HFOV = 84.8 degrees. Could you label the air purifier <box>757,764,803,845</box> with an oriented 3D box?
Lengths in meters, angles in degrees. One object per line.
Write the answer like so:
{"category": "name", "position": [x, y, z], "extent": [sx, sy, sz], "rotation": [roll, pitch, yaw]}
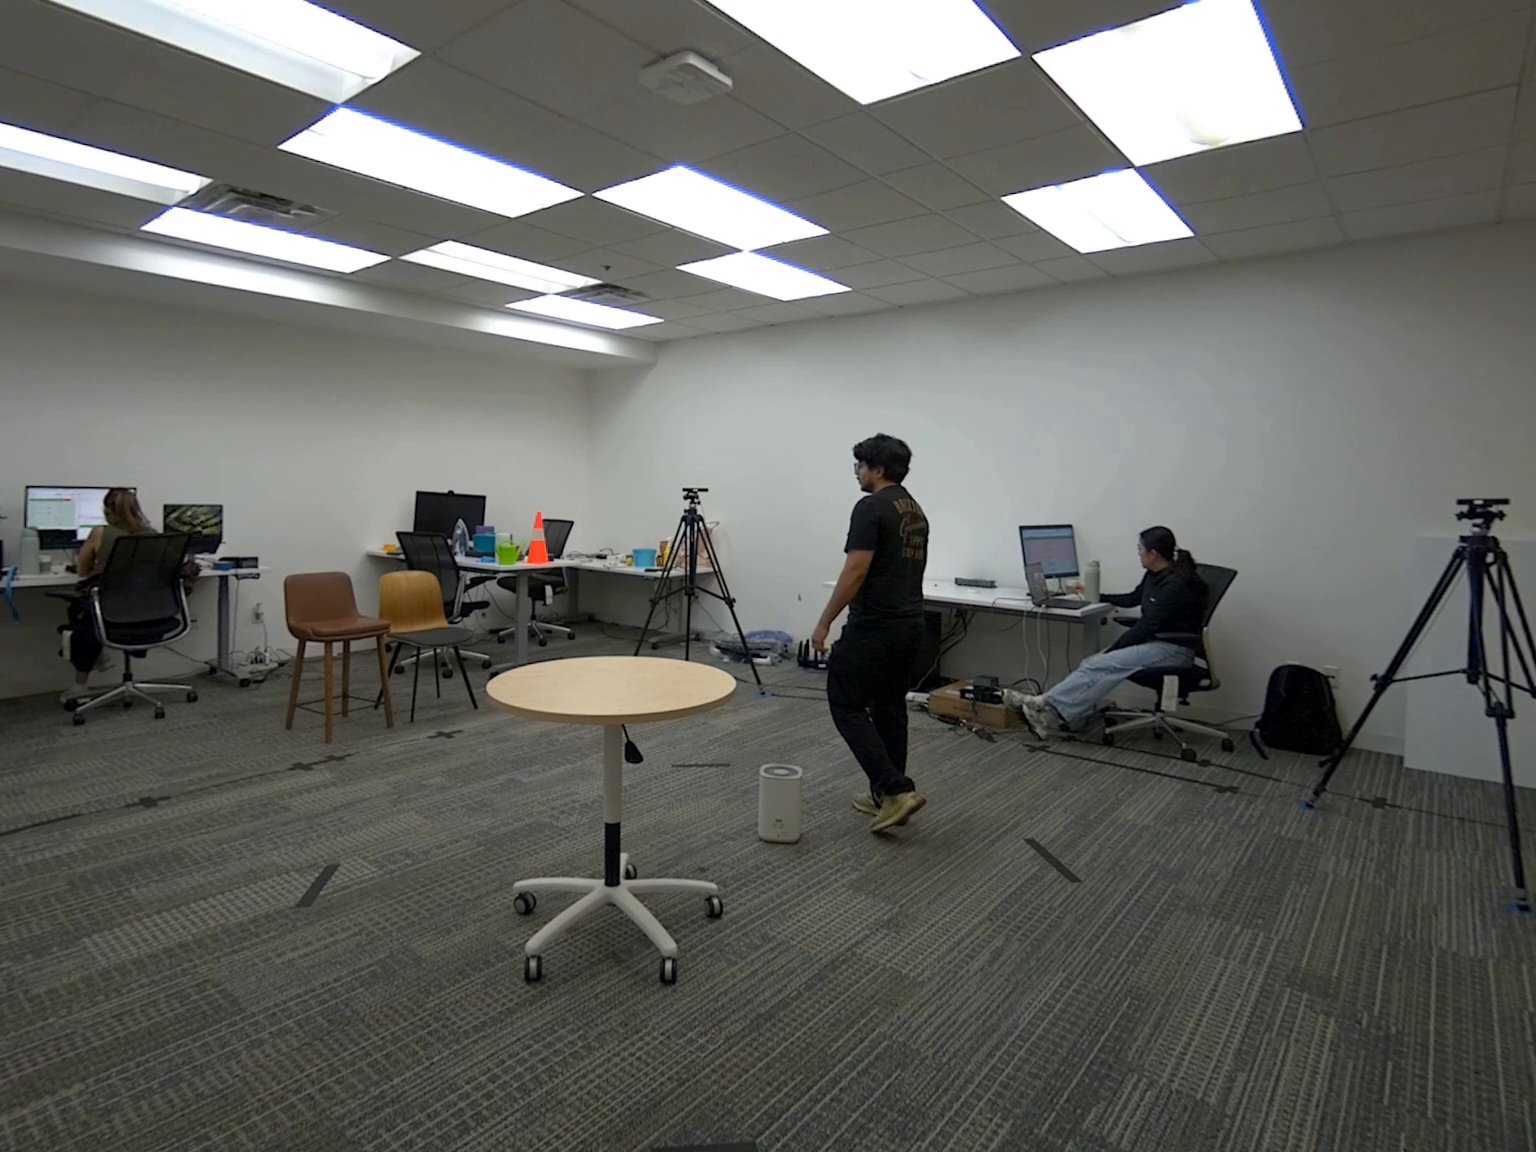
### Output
{"category": "air purifier", "position": [0.043, 0.907, 3.421], "extent": [0.170, 0.261, 0.172], "rotation": [2, 4, 9]}
